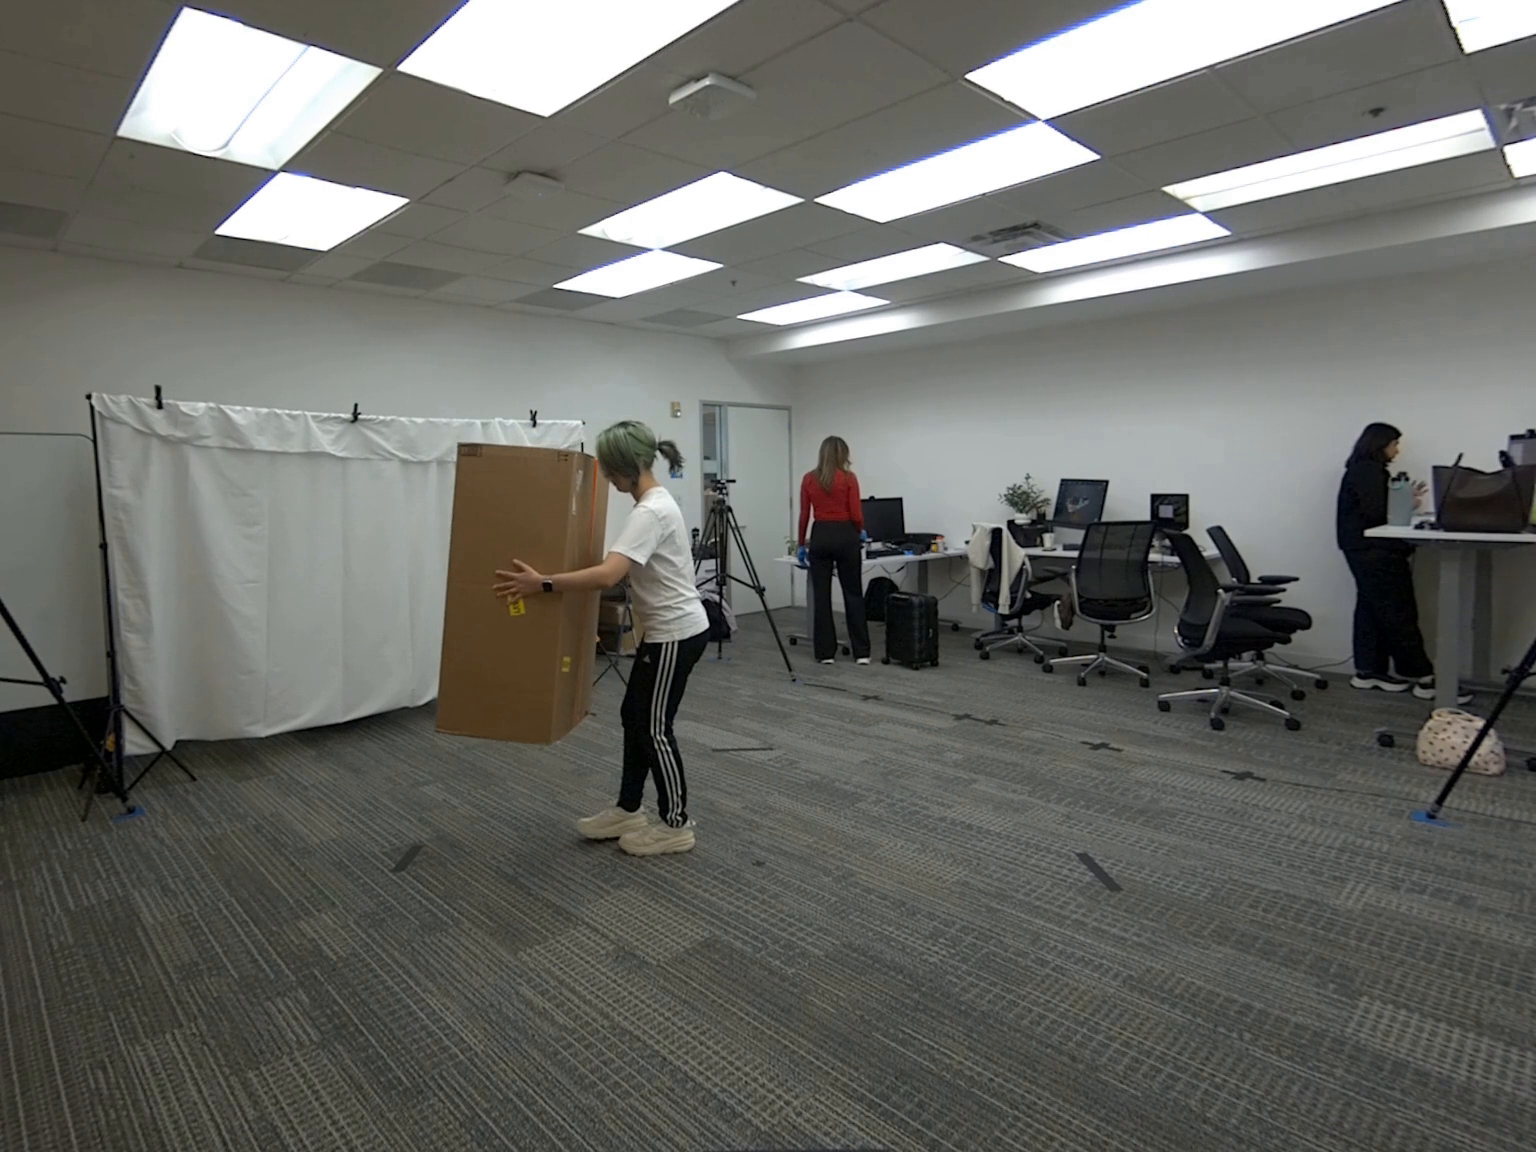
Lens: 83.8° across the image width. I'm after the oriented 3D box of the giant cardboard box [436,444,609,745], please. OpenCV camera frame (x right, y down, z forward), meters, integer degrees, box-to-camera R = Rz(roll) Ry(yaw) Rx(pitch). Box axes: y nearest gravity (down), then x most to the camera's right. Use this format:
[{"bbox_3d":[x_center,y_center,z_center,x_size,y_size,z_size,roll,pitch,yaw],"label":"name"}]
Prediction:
[{"bbox_3d":[-0.901,0.046,3.240,0.448,1.026,0.582,4,1,2],"label":"giant cardboard box"}]
